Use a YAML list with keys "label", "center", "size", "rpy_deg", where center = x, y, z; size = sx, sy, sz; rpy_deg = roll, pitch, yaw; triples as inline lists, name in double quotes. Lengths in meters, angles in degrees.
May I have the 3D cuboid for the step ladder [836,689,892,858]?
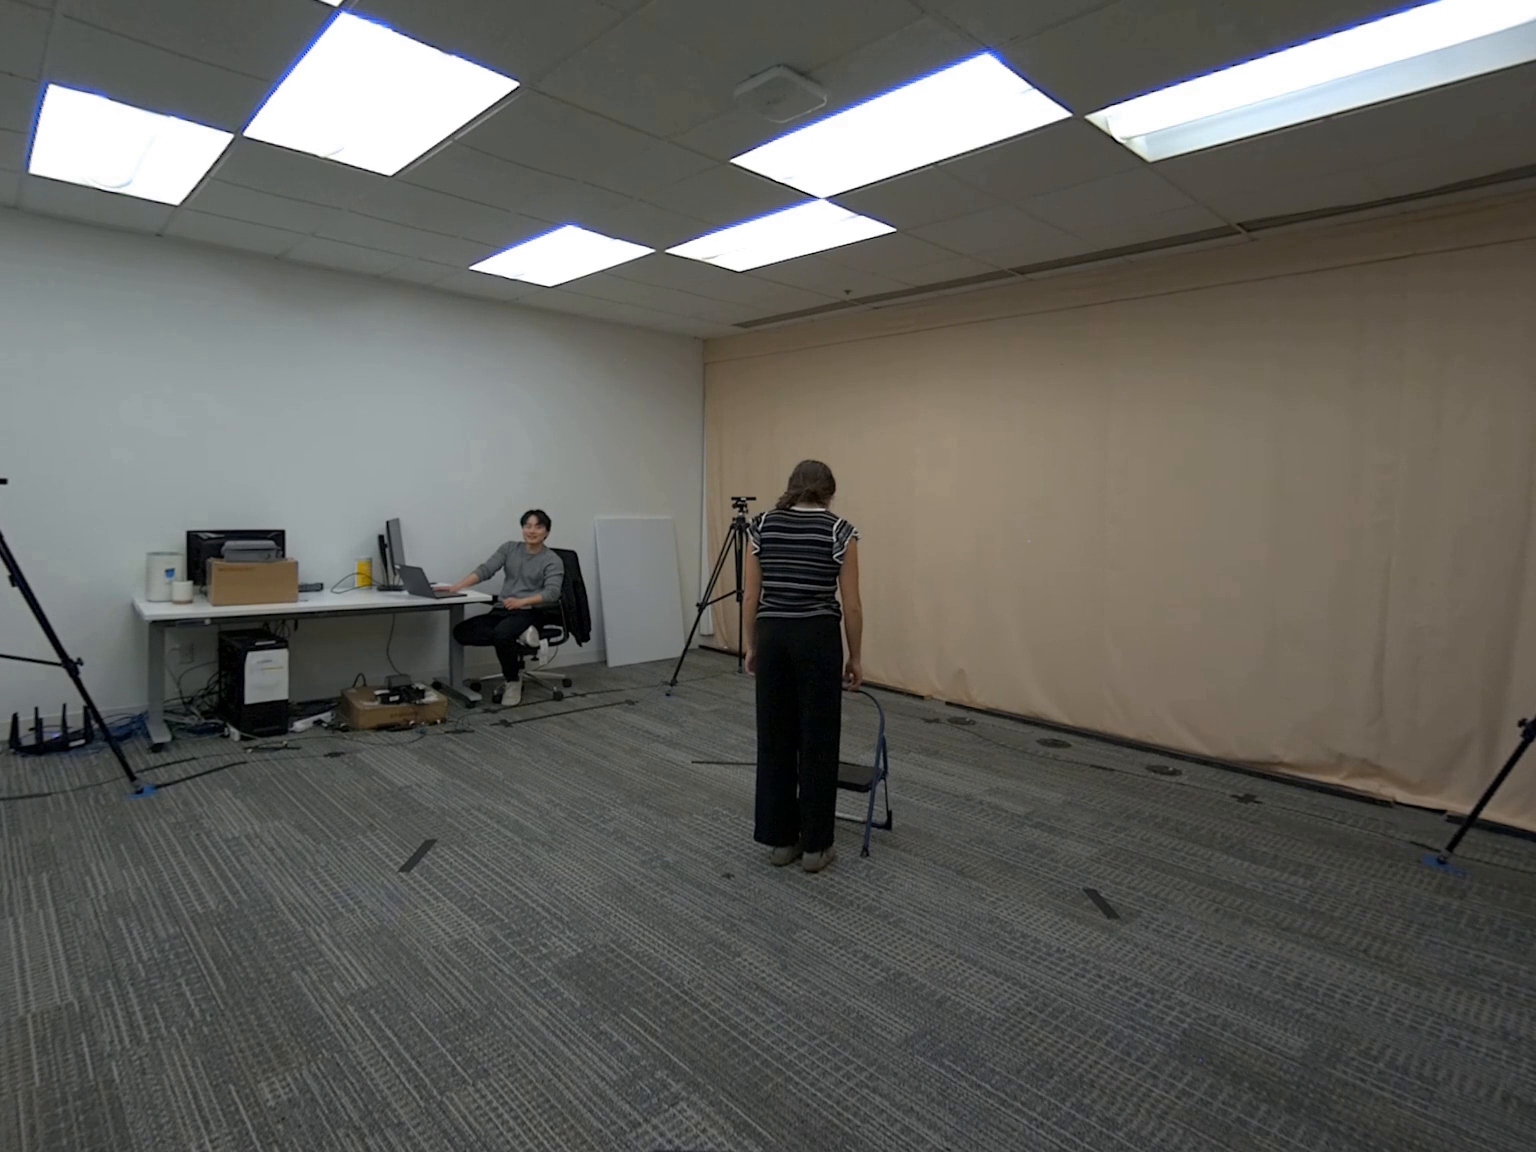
- label: "step ladder"
  center: [0.278, 0.779, 3.538]
  size: [0.440, 0.605, 0.343]
  rpy_deg: [3, 4, 28]
